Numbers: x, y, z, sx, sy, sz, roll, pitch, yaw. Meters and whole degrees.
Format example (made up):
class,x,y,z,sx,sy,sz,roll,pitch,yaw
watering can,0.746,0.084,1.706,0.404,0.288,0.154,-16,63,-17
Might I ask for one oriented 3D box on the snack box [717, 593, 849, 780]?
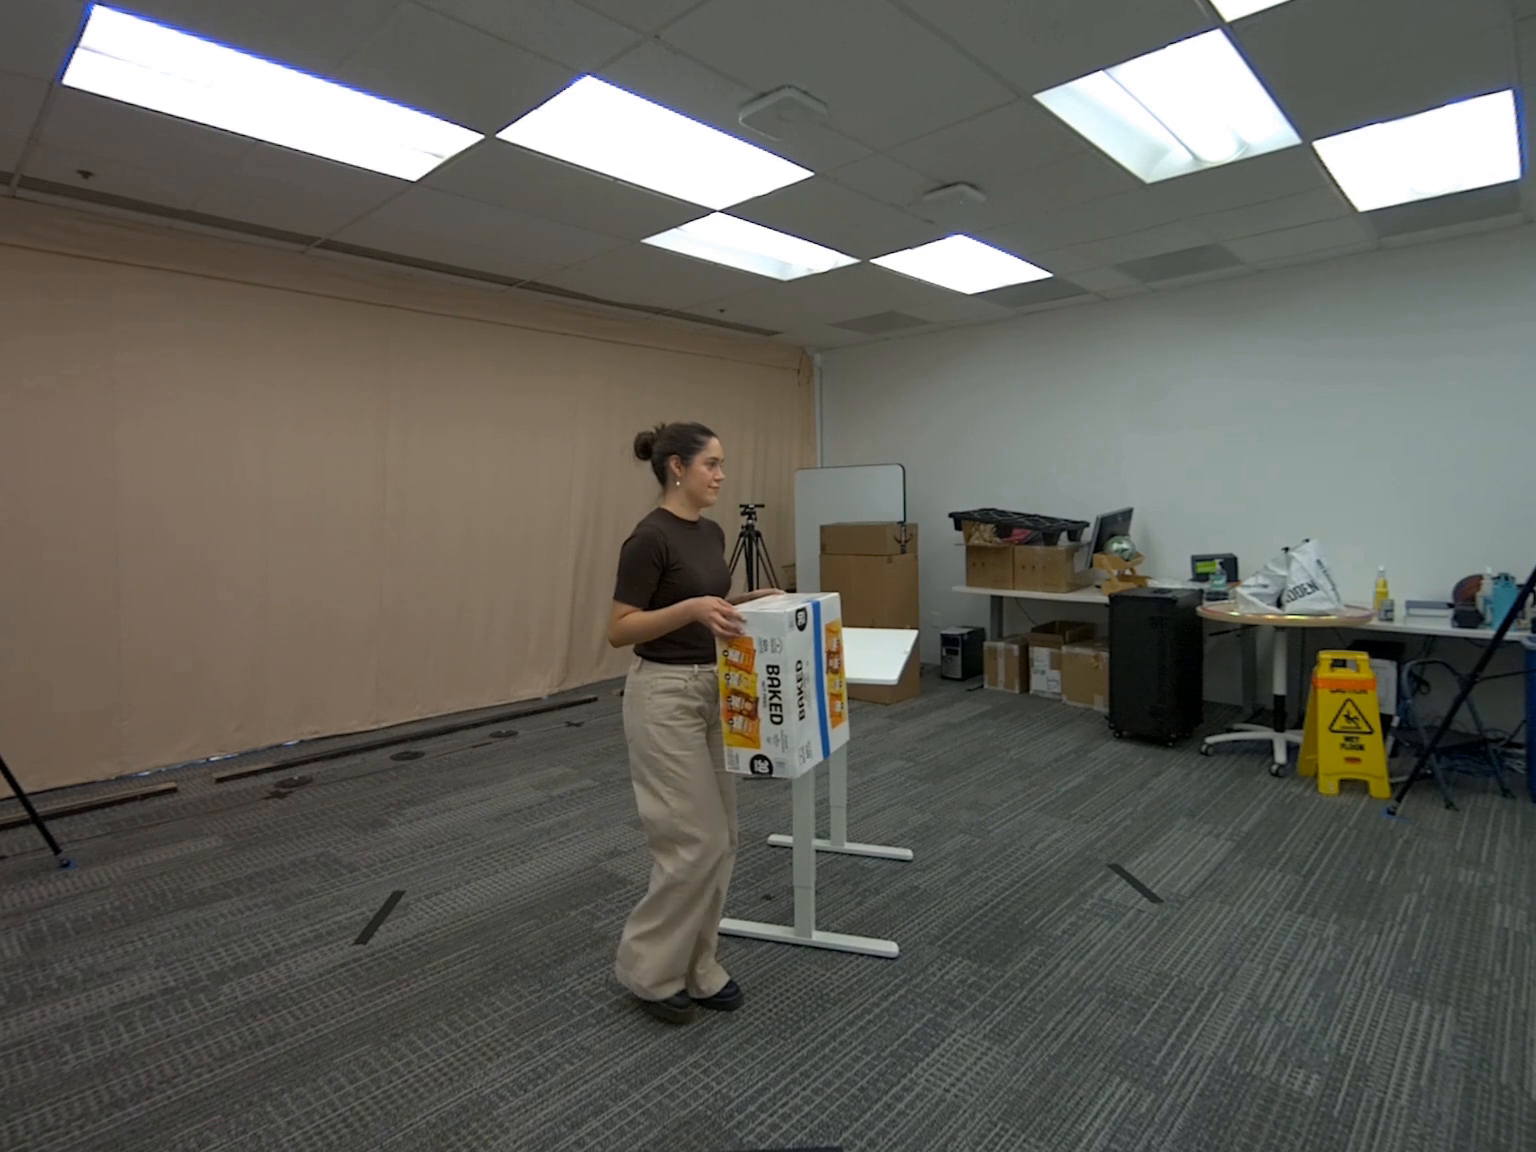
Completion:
class,x,y,z,sx,sy,sz,roll,pitch,yaw
snack box,0.045,0.271,2.167,0.211,0.404,0.332,-2,4,28
